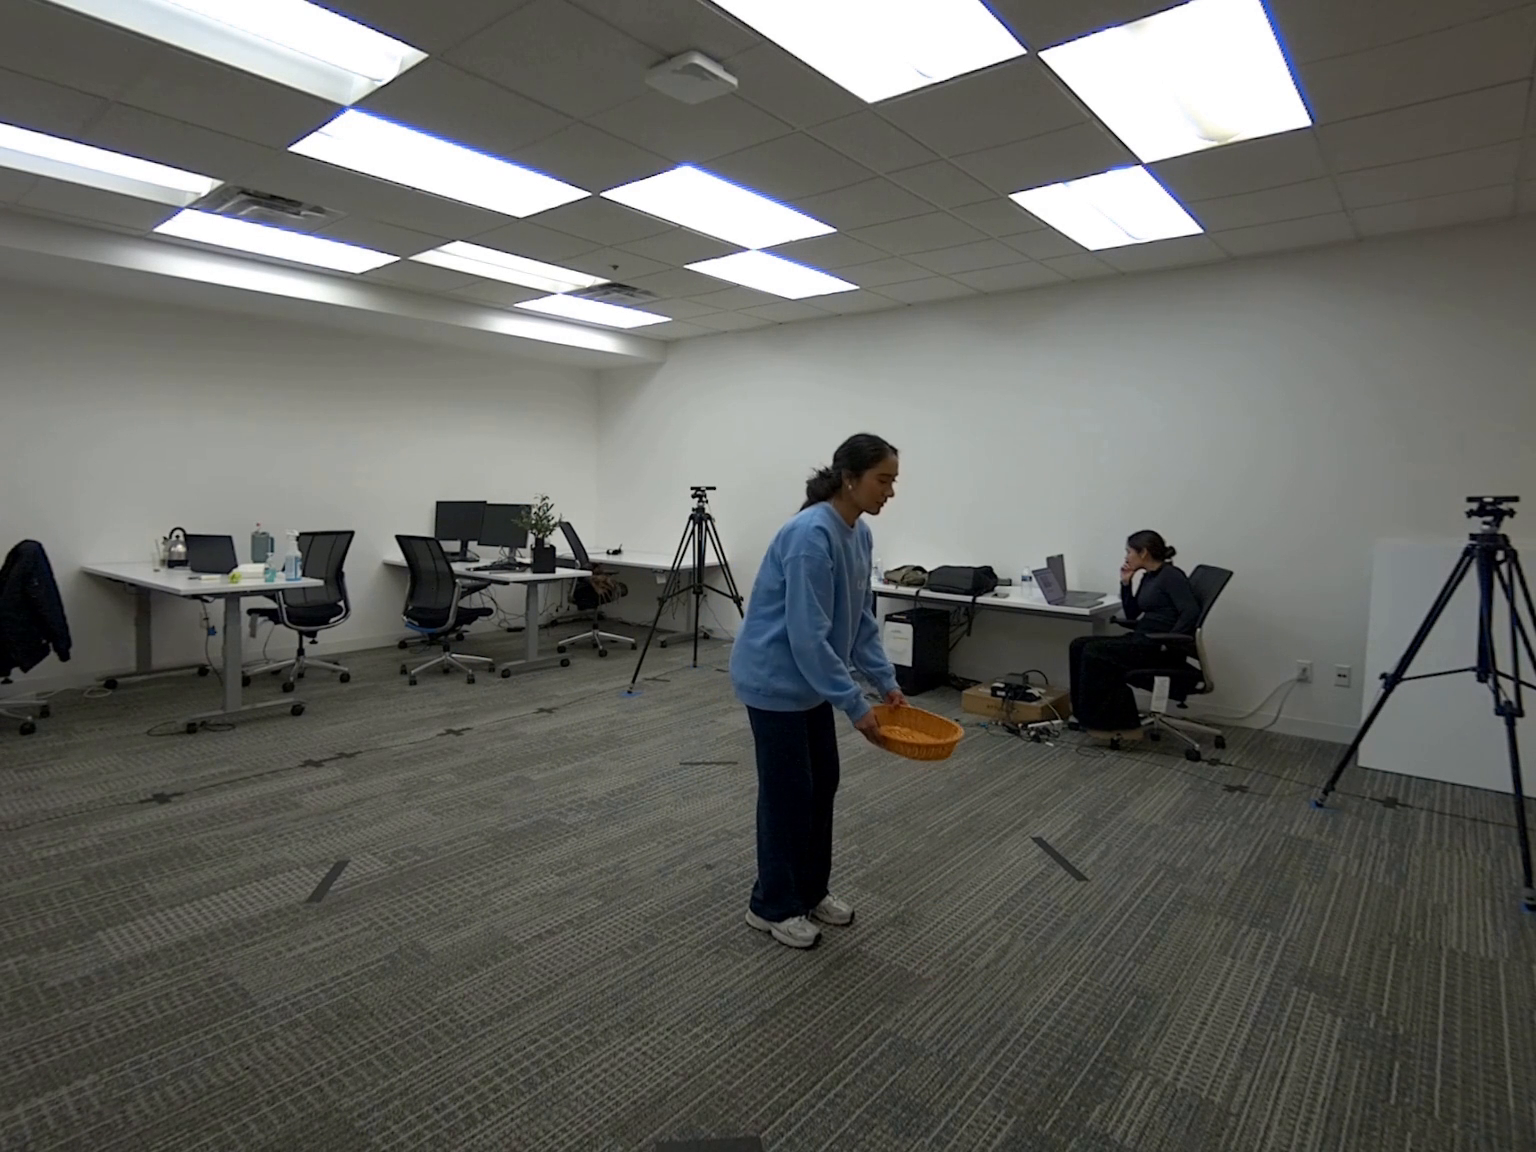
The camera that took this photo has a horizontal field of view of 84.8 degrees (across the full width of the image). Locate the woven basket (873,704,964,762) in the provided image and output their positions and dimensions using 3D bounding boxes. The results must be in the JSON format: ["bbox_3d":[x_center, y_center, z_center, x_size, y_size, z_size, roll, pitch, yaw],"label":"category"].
[{"bbox_3d":[0.411,0.480,2.510,0.246,0.073,0.362,-5,11,-28],"label":"woven basket"}]
